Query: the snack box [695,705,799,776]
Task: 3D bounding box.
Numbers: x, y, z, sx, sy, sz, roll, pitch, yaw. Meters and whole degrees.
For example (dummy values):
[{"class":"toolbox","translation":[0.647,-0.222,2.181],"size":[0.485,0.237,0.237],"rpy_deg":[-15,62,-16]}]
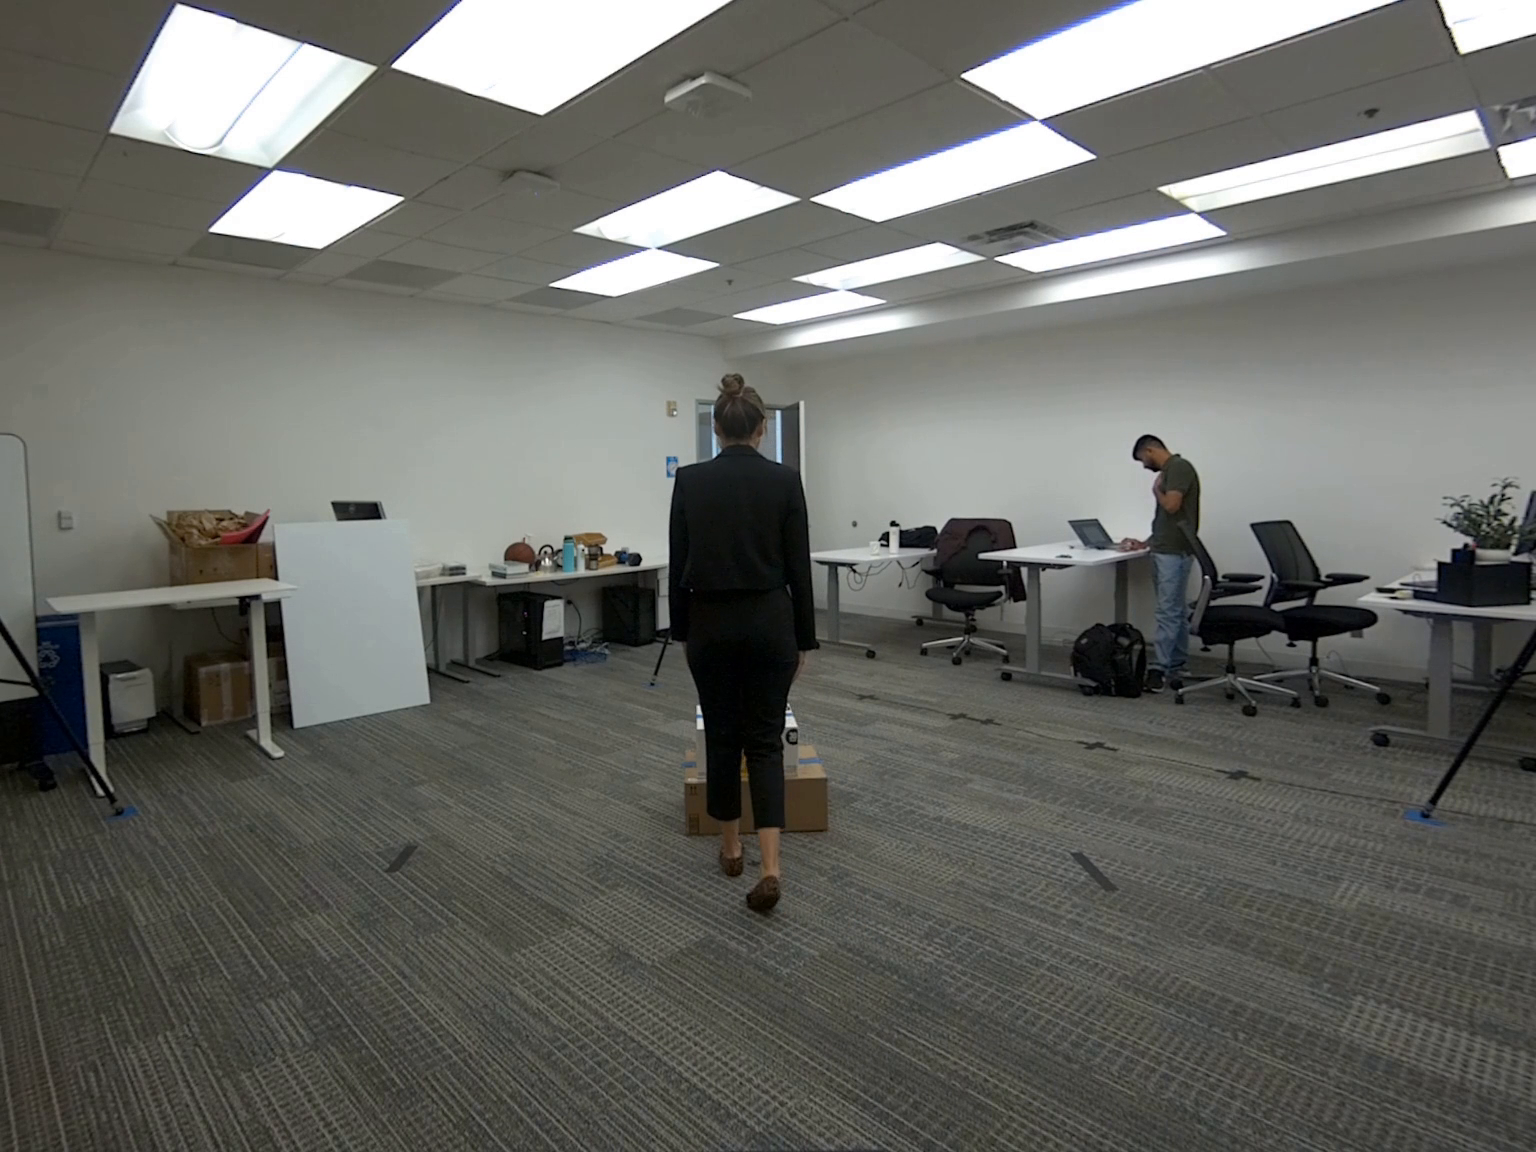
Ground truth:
[{"class":"snack box","translation":[-0.087,0.679,3.547],"size":[0.404,0.204,0.343],"rpy_deg":[-2,7,-3]}]
